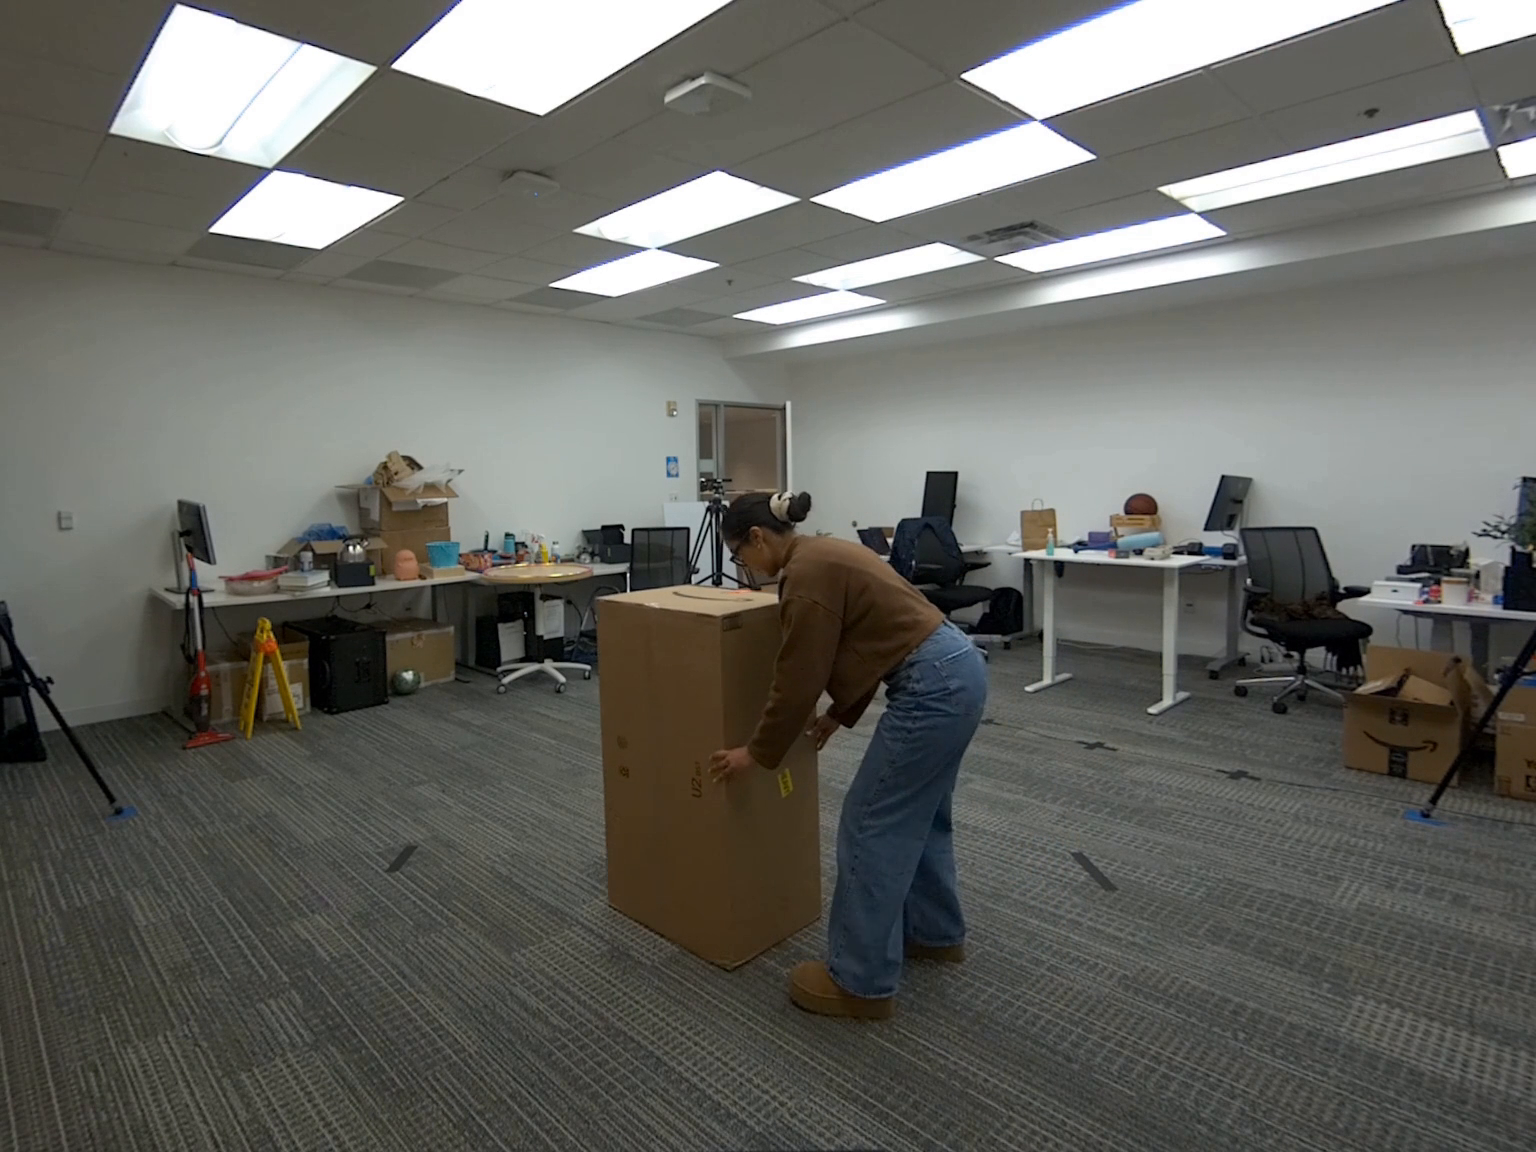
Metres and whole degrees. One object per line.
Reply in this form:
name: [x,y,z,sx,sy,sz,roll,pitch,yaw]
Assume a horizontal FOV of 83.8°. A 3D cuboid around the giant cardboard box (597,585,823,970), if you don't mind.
giant cardboard box: [-0.190,0.580,2.745,0.595,1.022,0.415,2,5,43]
